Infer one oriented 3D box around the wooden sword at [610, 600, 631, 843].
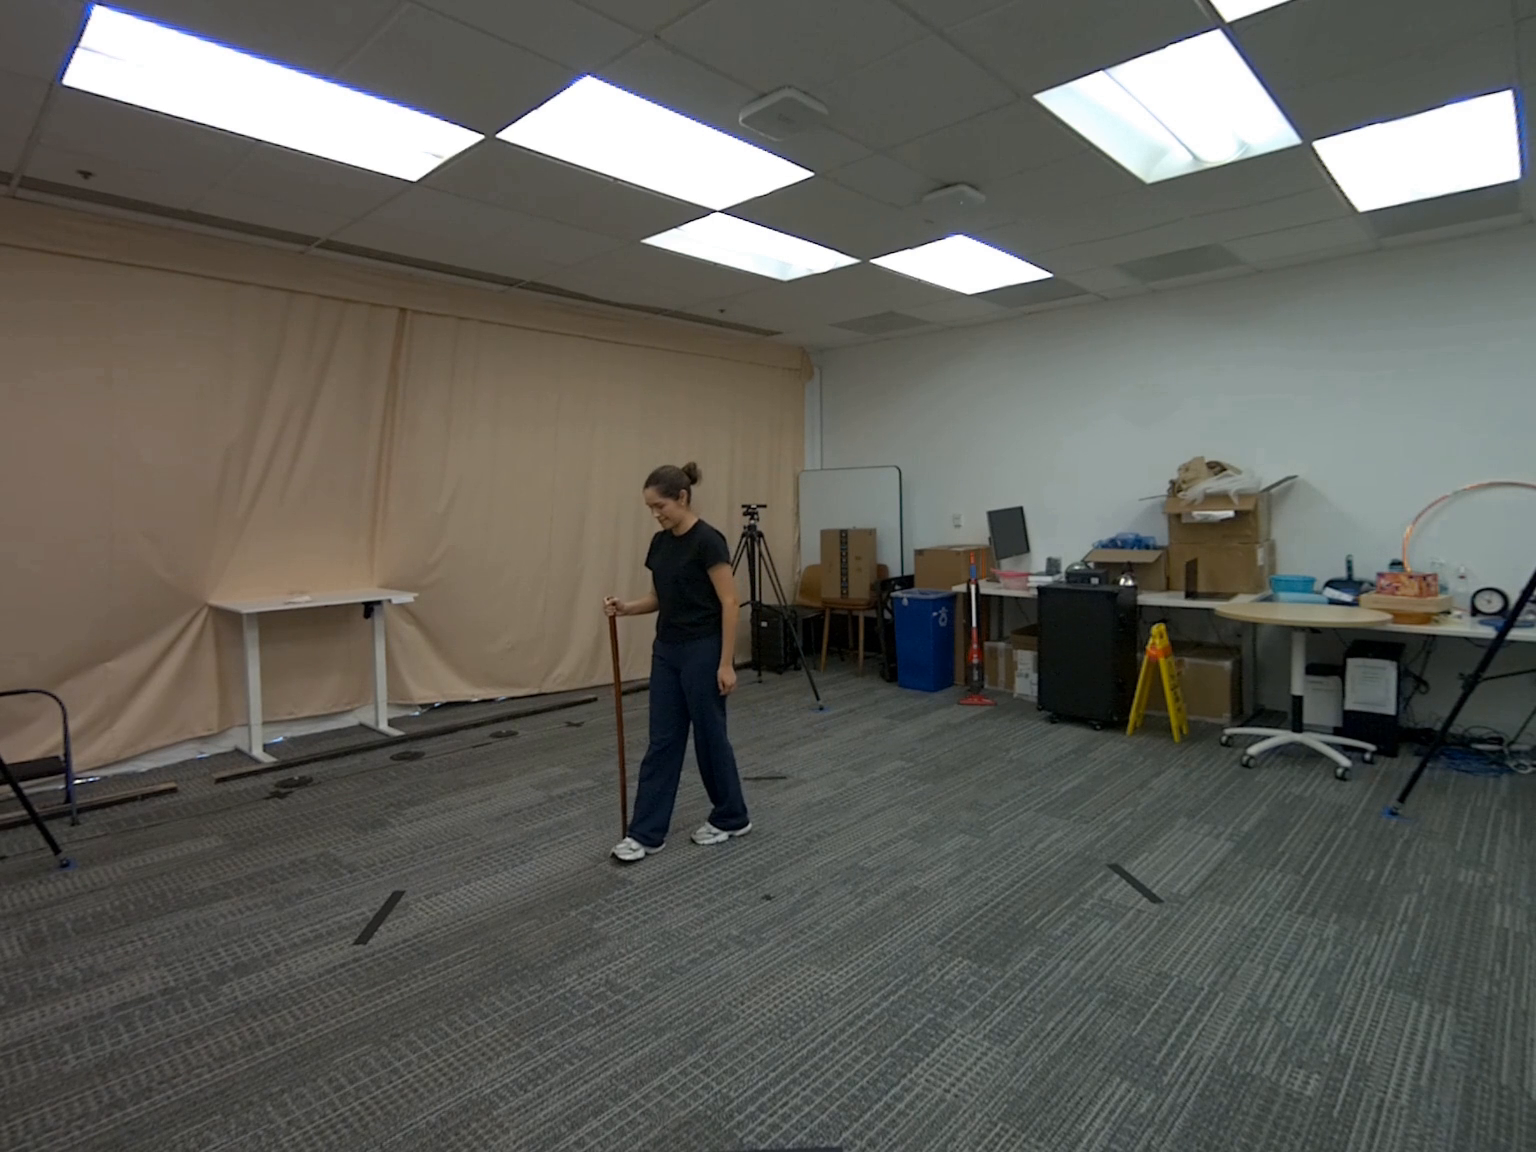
[{"bbox_3d":[-0.602,0.605,3.461,0.052,1.020,0.023,2,7,23],"label":"wooden sword"}]
